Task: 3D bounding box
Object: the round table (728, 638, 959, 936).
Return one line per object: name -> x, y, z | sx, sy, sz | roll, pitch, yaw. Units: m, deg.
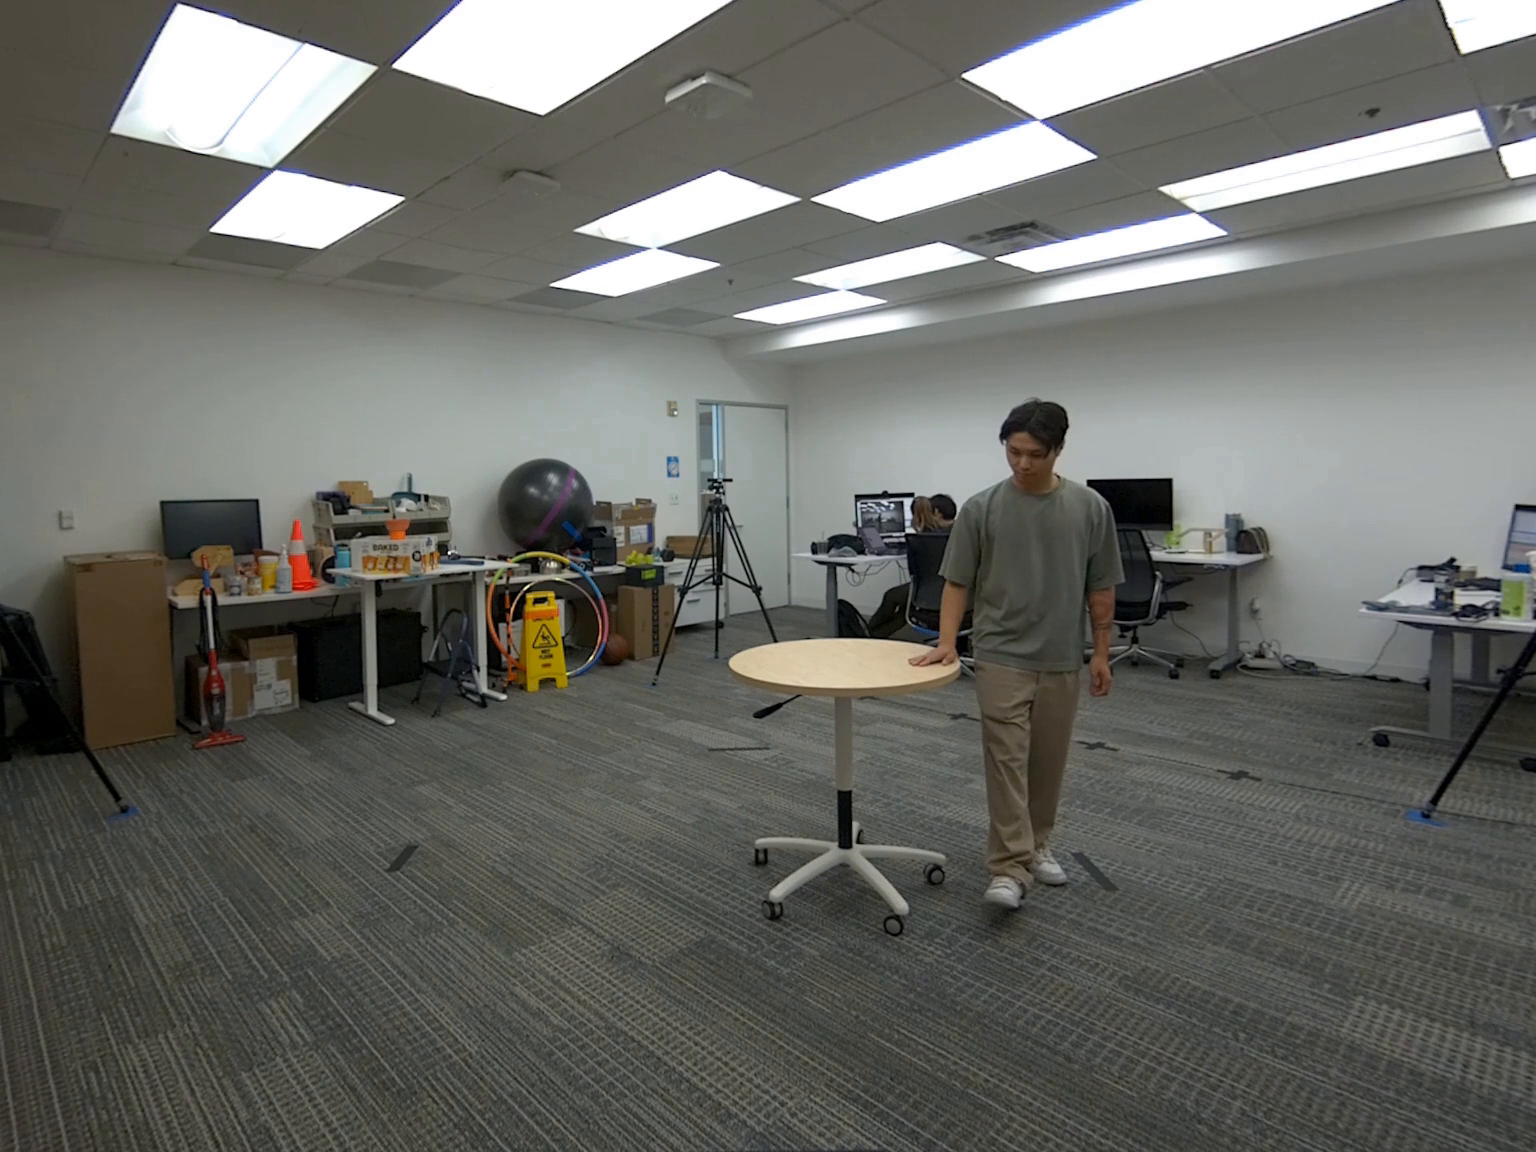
round table -> 0.267, 0.675, 2.896 | 0.763, 0.791, 0.768 | -1, 5, -2
